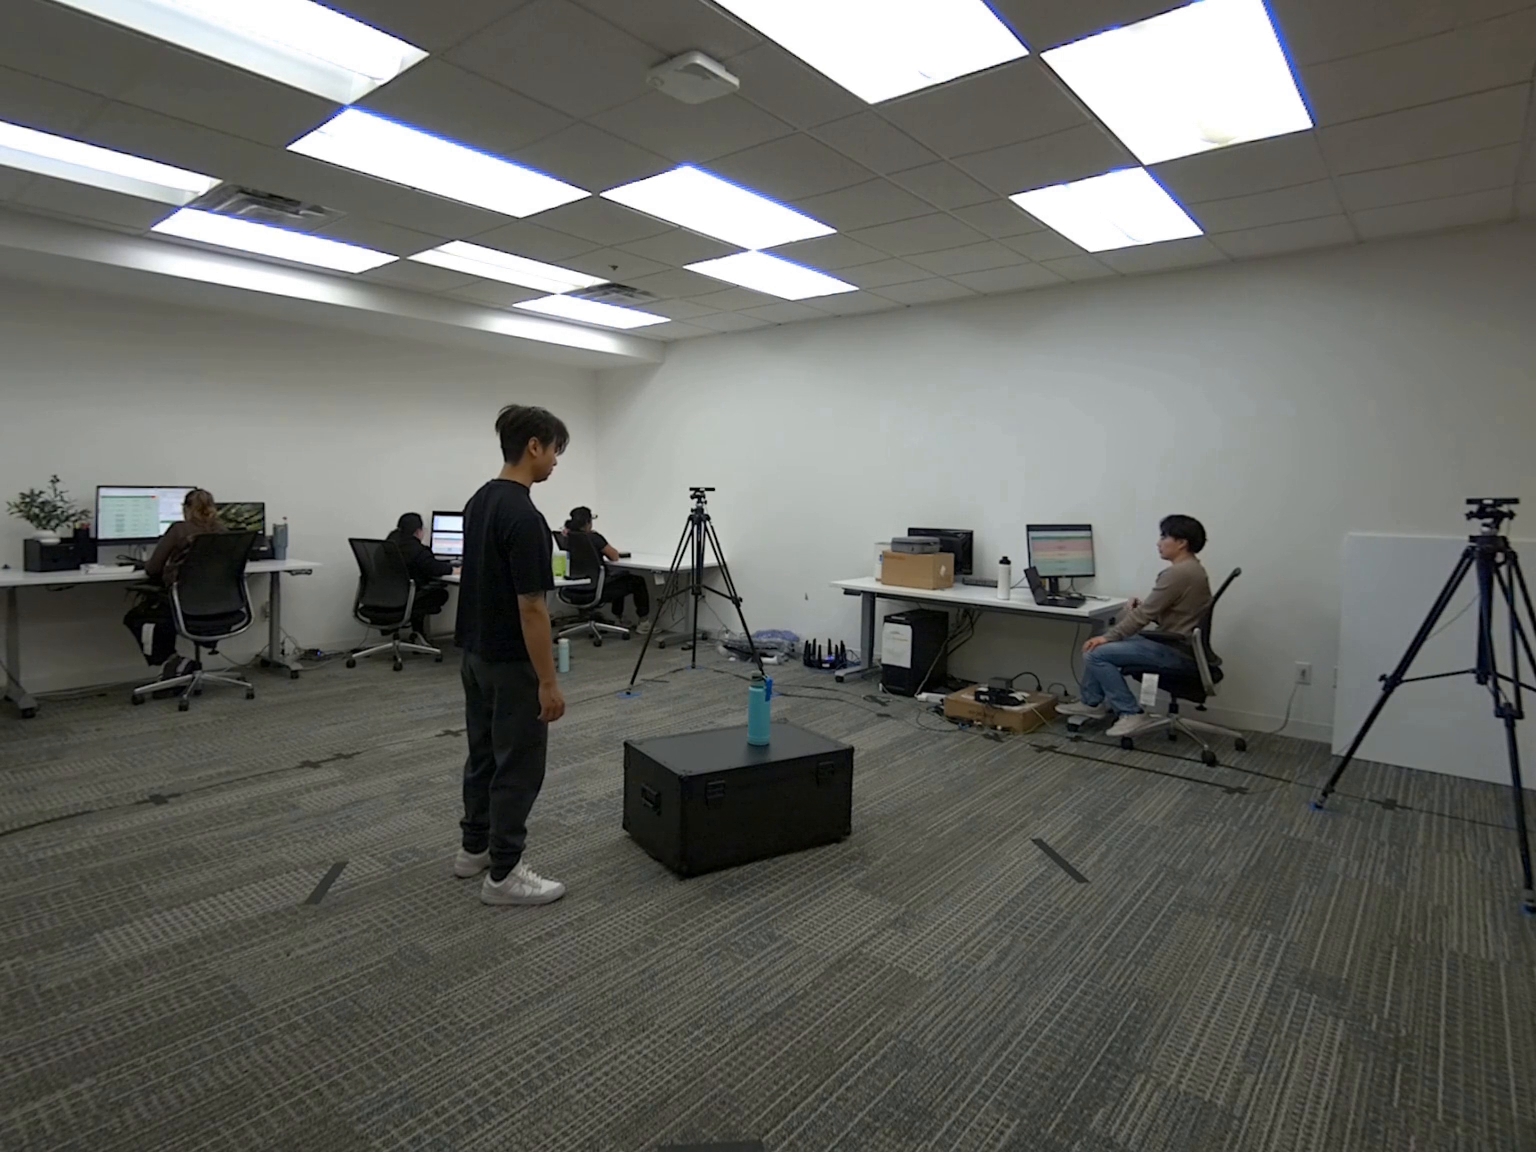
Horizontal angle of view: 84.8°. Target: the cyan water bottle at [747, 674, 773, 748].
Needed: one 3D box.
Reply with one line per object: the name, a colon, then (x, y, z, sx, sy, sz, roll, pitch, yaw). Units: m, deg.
cyan water bottle: (-0.046, 0.526, 3.418, 0.092, 0.282, 0.093, 2, 4, -2)
